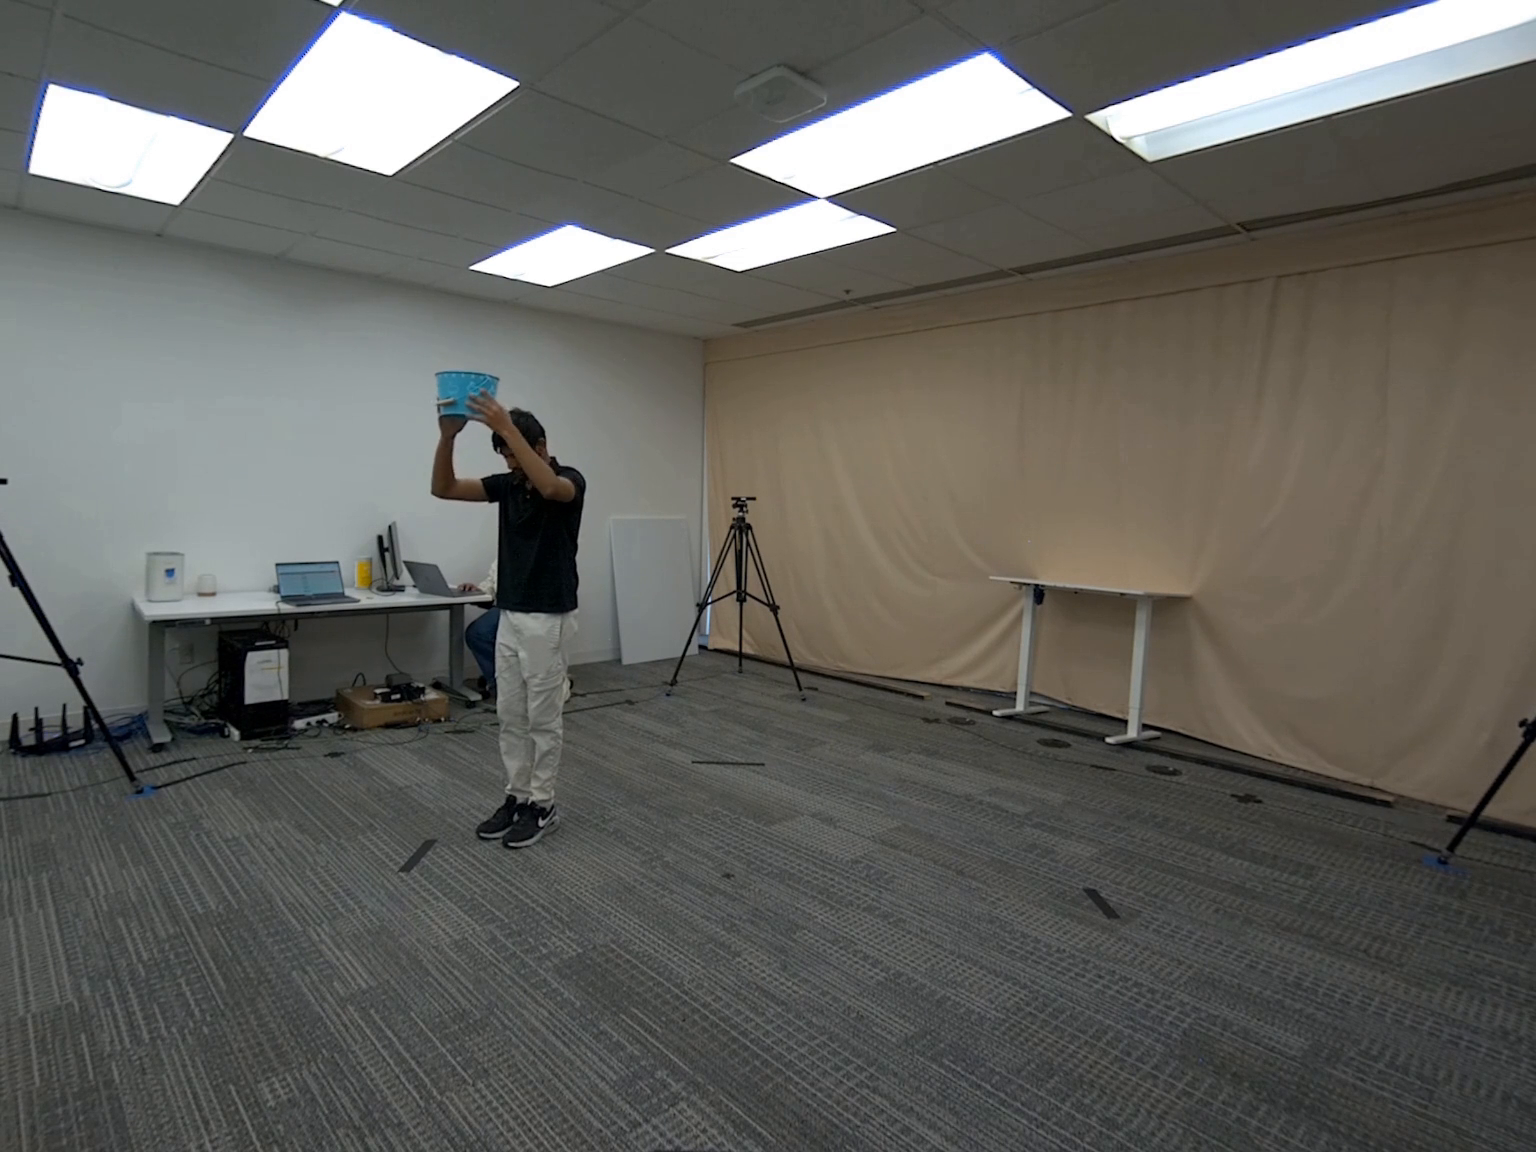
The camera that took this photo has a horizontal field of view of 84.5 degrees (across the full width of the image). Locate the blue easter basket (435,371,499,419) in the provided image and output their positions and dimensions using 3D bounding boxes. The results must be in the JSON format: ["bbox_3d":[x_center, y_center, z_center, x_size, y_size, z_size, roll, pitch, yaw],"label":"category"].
[{"bbox_3d":[-1.141,-0.659,3.149,0.243,0.156,0.244,2,2,-1],"label":"blue easter basket"}]
